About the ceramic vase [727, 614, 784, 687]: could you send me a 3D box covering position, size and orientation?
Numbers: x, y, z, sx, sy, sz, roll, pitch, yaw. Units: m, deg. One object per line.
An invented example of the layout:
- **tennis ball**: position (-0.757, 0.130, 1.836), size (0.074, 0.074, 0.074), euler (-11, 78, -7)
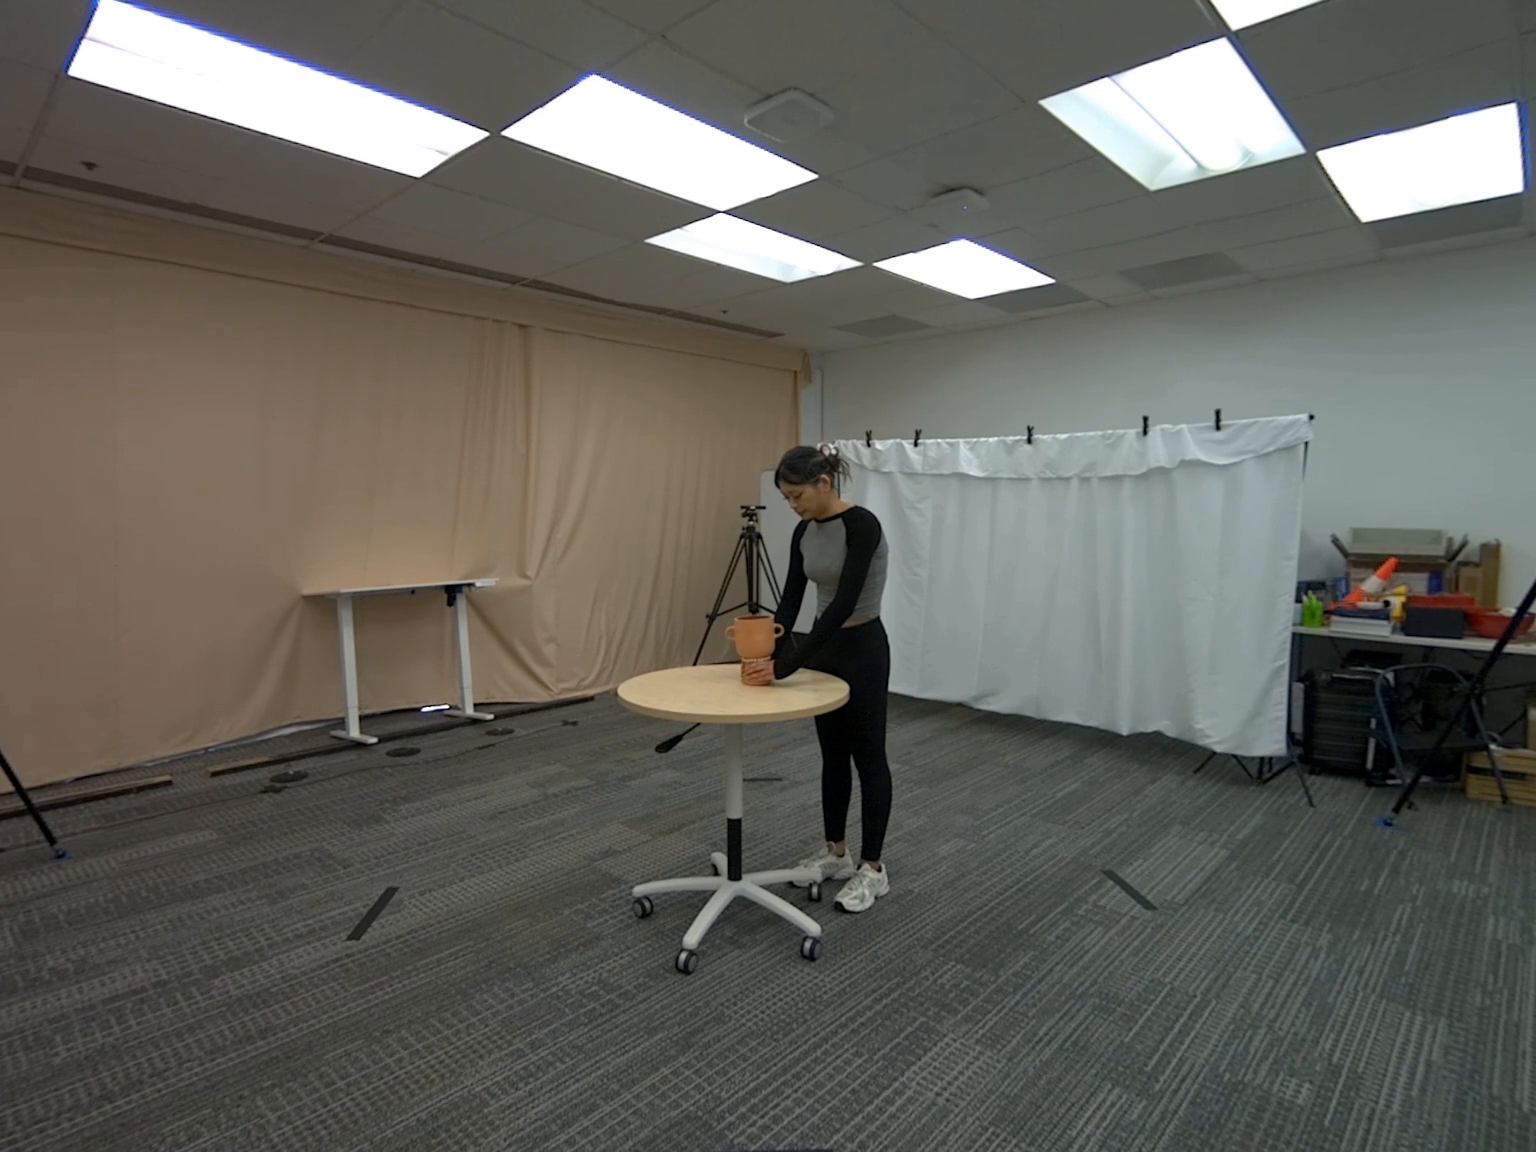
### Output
- **ceramic vase**: position (-0.030, 0.247, 2.836), size (0.164, 0.219, 0.131), euler (1, 4, 38)
